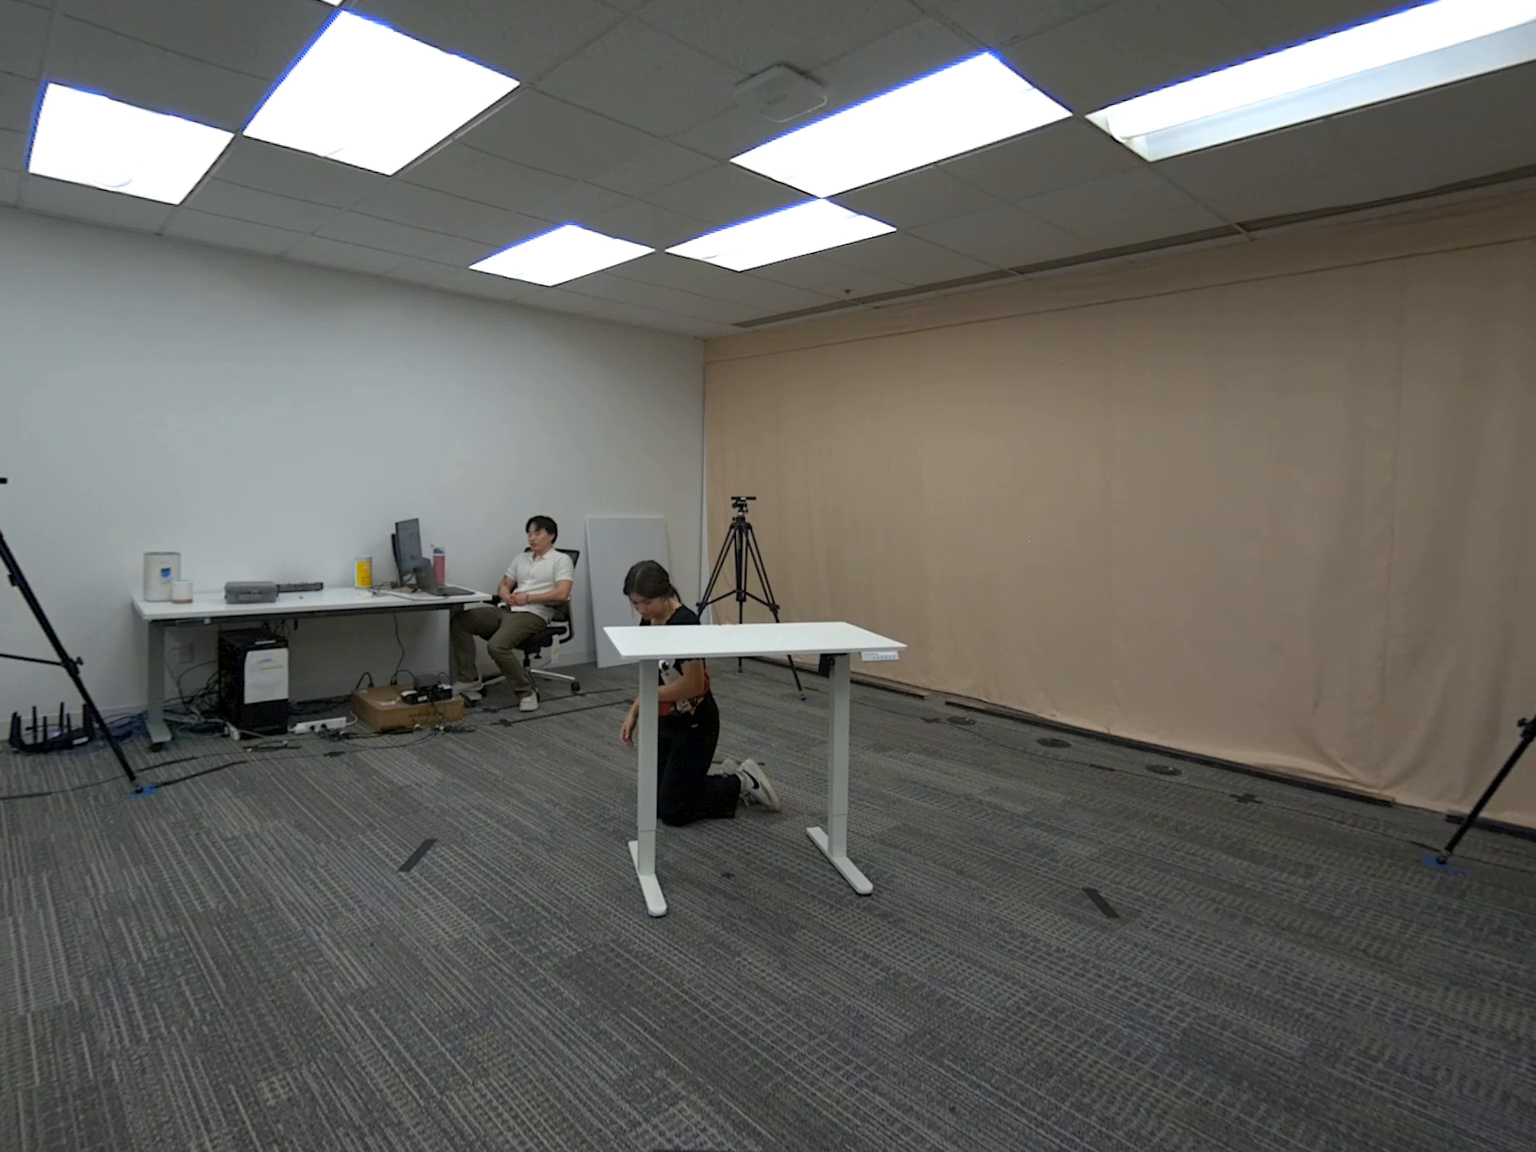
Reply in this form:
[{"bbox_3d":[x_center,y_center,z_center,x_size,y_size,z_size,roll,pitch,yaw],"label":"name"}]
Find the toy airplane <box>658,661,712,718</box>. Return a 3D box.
[{"bbox_3d":[-0.373,0.451,3.493,0.252,0.261,0.154,-2,-10,7],"label":"toy airplane"}]
